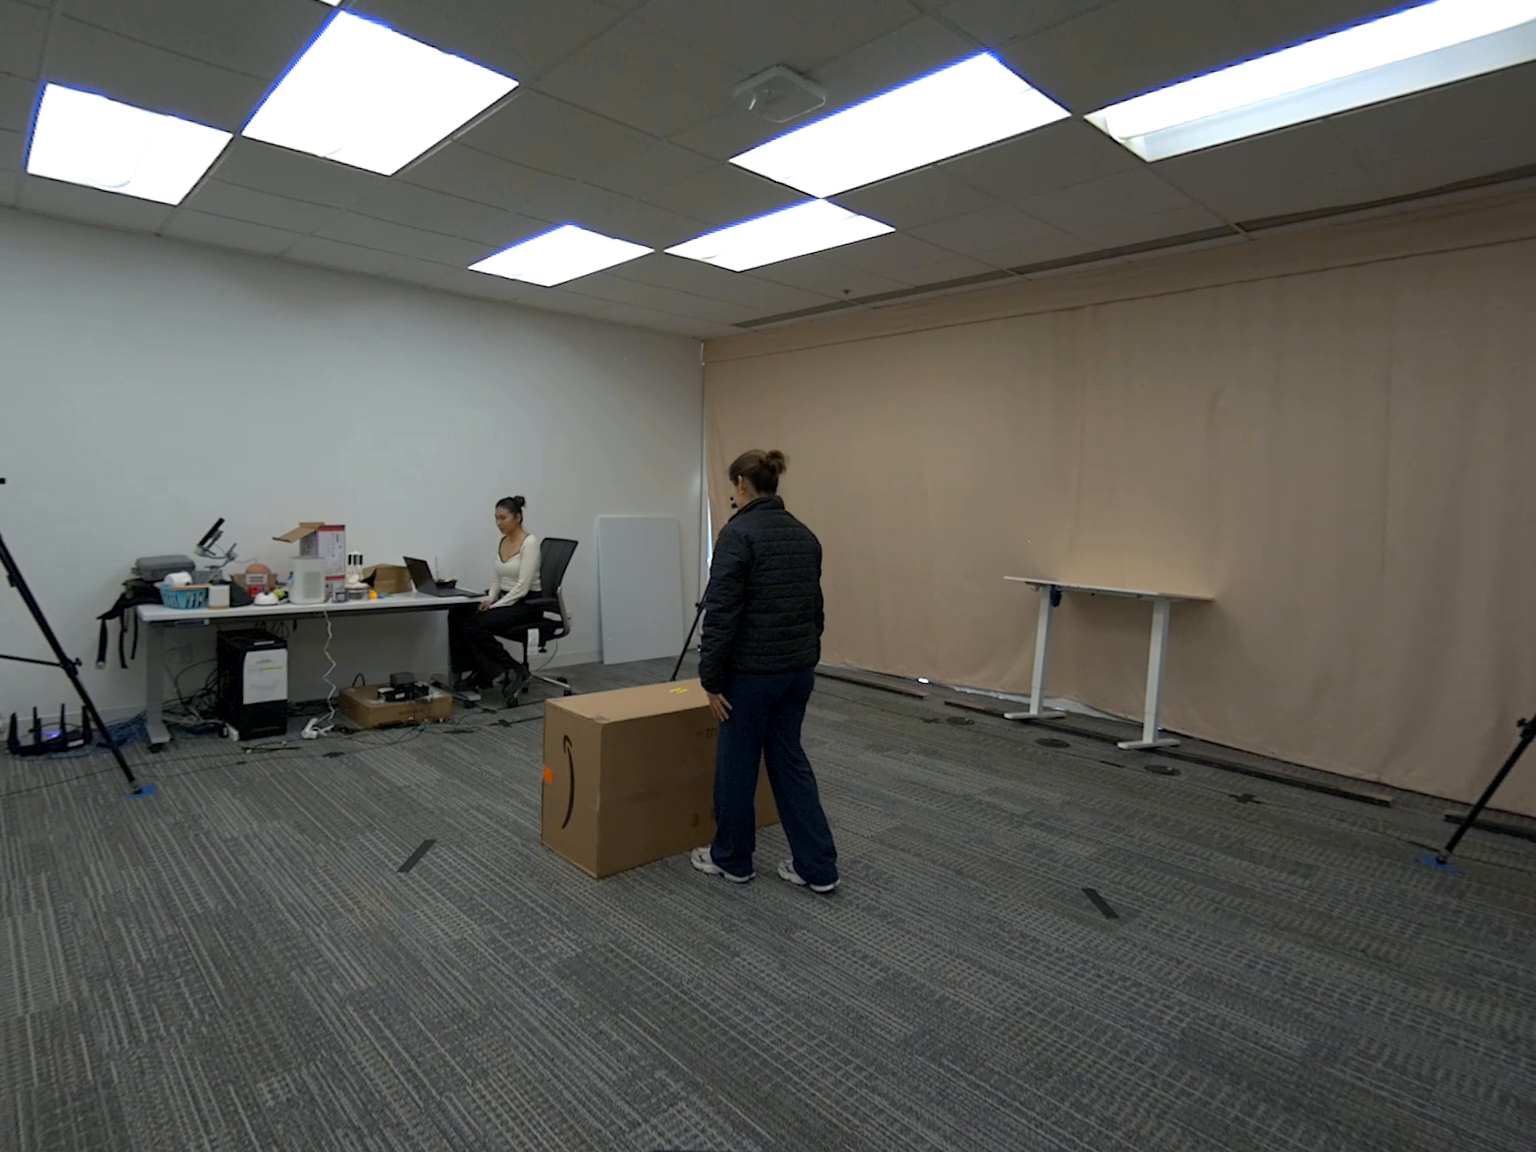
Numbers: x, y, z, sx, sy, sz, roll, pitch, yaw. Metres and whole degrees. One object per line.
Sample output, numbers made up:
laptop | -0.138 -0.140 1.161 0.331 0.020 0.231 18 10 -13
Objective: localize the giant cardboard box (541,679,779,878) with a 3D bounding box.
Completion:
giant cardboard box | -0.387 0.782 3.512 1.003 0.583 0.458 -2 4 -43
